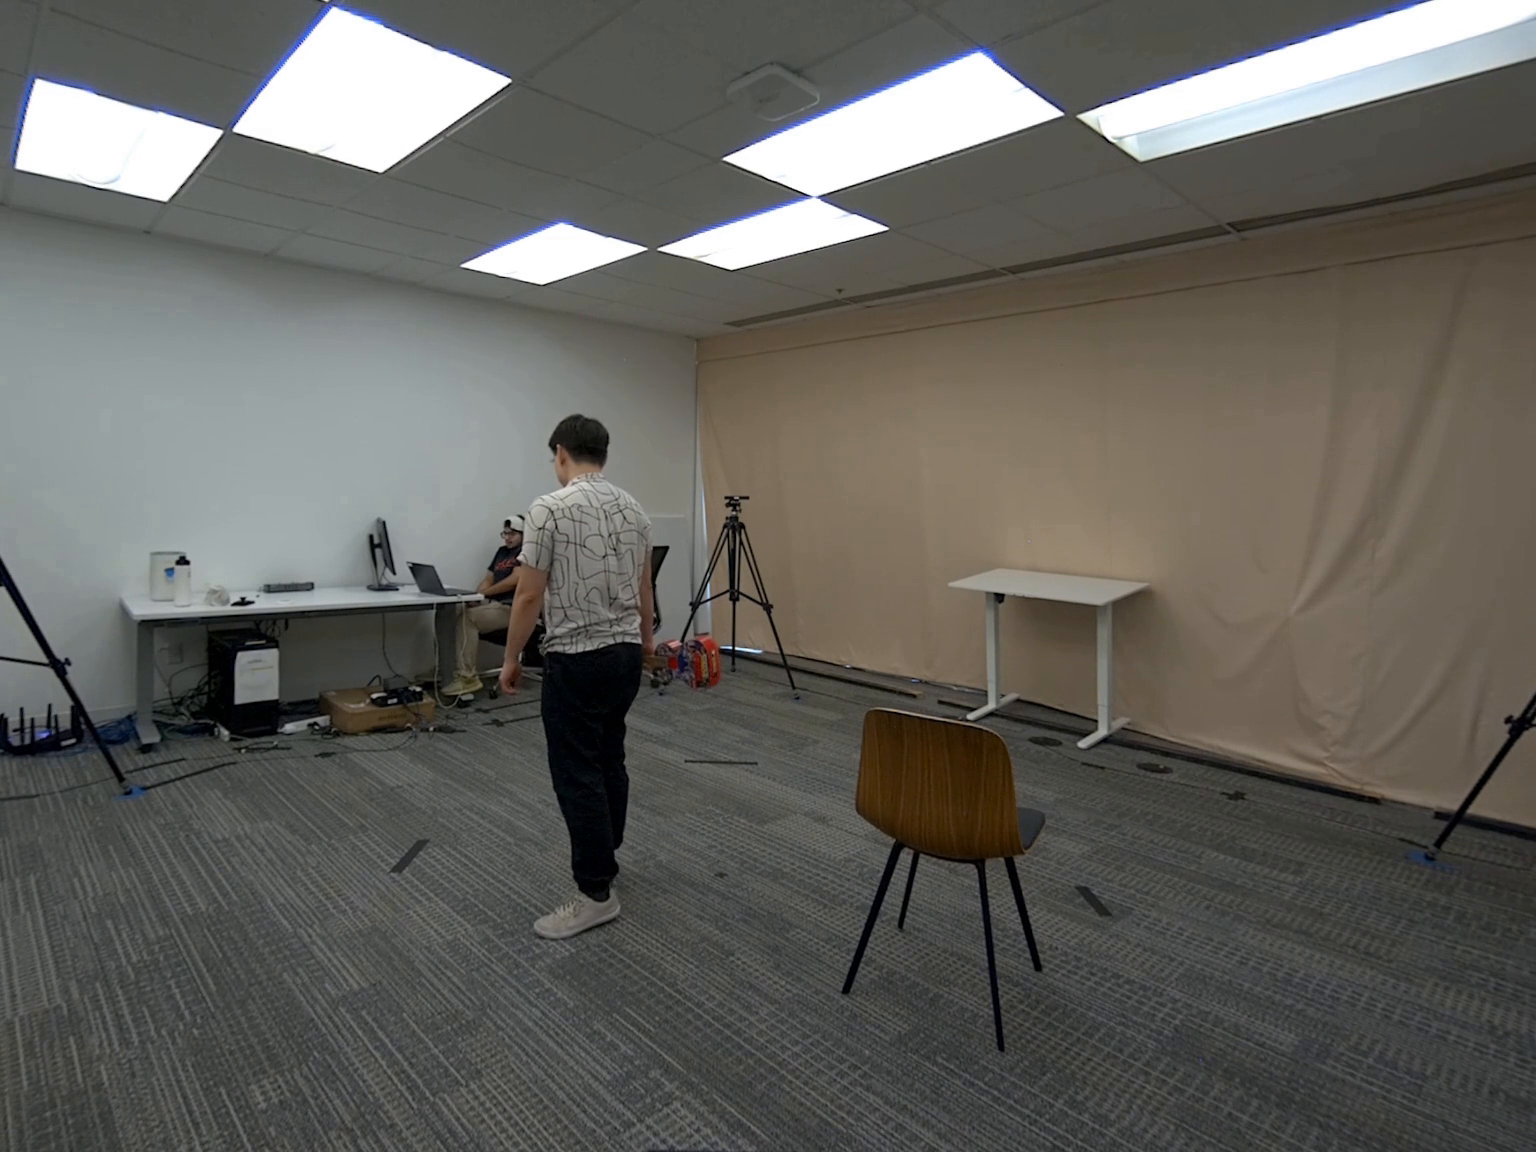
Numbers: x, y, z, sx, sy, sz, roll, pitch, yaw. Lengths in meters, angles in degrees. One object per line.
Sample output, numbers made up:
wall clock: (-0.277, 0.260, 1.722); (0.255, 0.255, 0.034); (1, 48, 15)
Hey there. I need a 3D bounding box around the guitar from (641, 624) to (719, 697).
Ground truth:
guitar: (-0.404, 0.291, 3.159); (0.511, 0.191, 0.069); (10, 14, 35)
